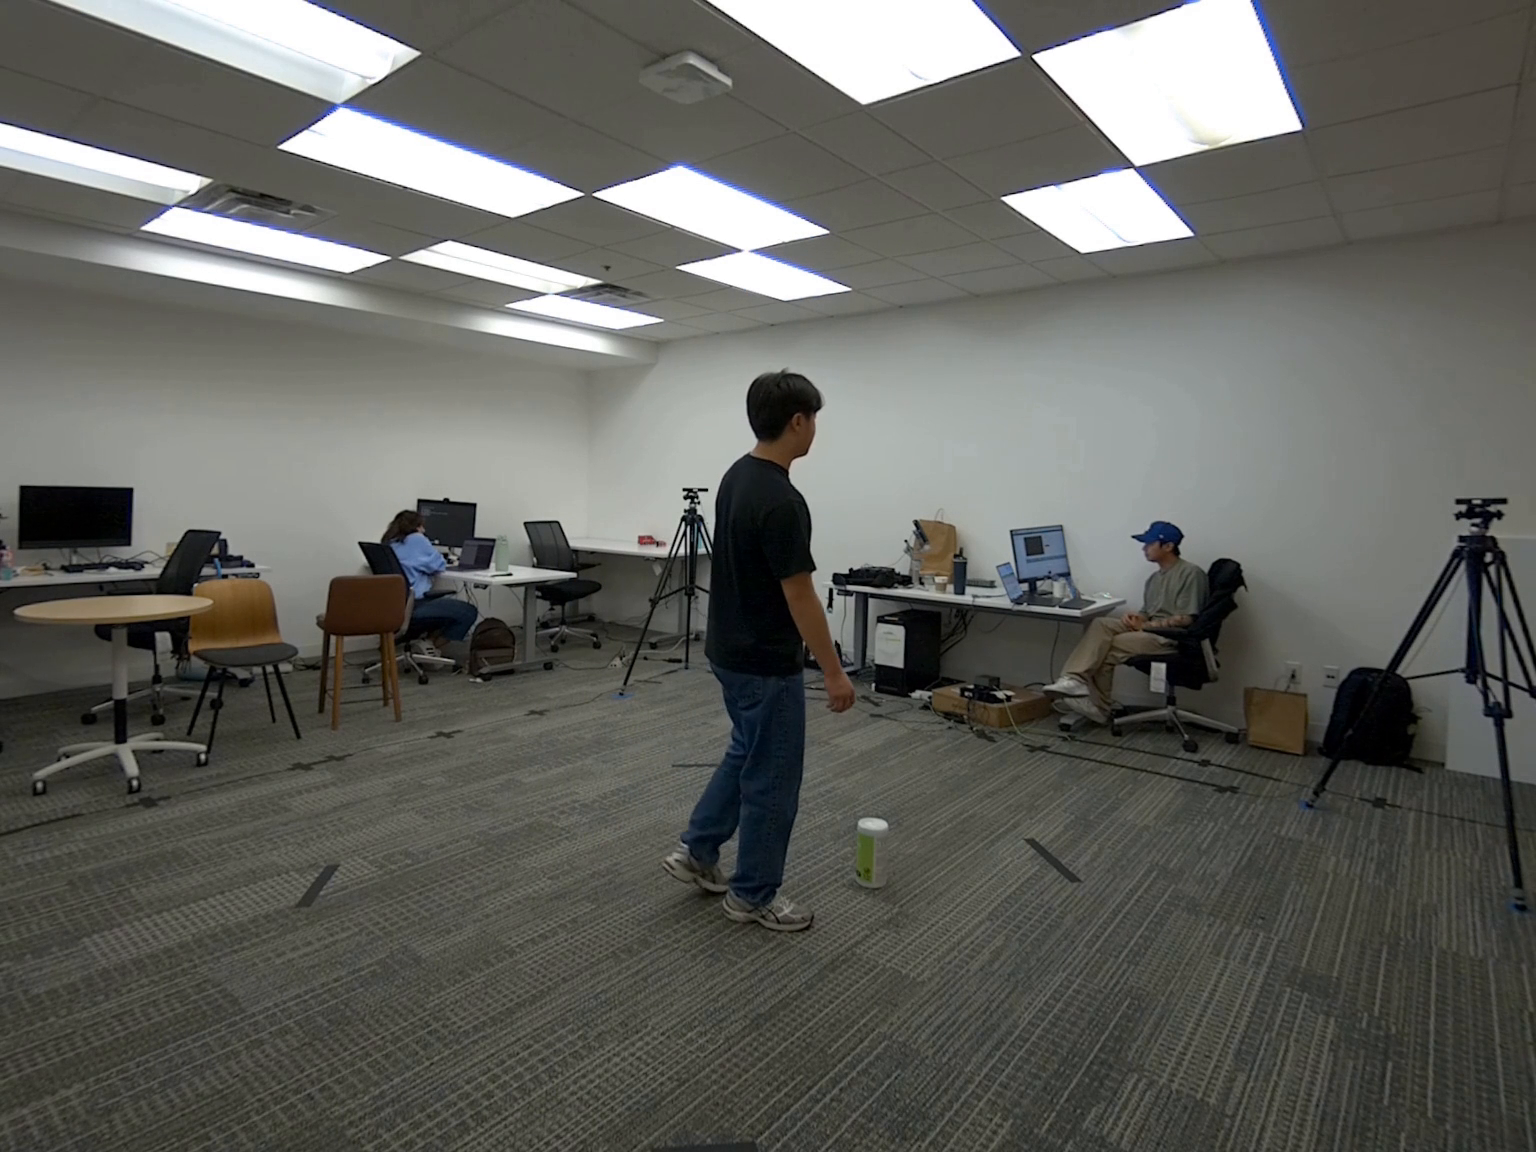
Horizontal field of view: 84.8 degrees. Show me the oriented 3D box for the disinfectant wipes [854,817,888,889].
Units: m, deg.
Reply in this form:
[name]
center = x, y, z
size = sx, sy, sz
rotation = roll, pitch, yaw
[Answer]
[disinfectant wipes]
center = 0.369, 0.984, 3.044
size = 0.118, 0.216, 0.118
rotation = 1, 4, -2
